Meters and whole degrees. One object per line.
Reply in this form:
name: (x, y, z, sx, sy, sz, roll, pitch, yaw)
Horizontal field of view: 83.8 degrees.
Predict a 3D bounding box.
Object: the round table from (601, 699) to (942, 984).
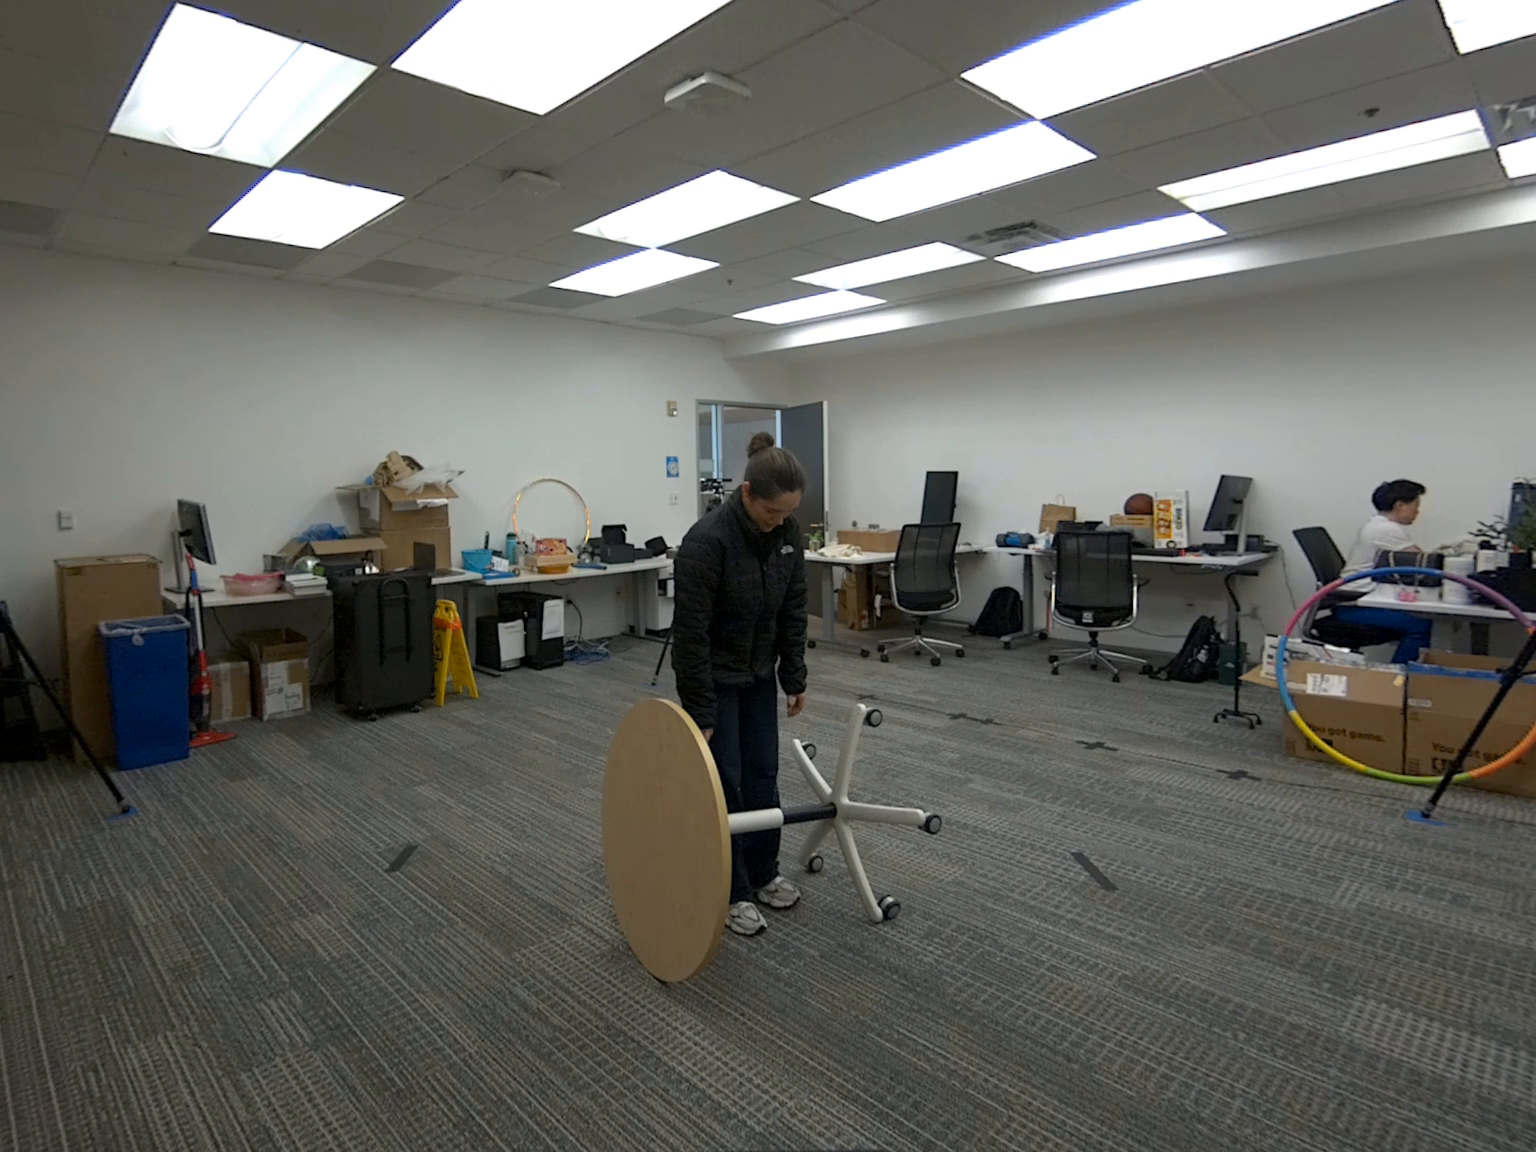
round table: (-0.007, 0.757, 2.684, 0.764, 0.785, 0.808, 4, 1, -34)
